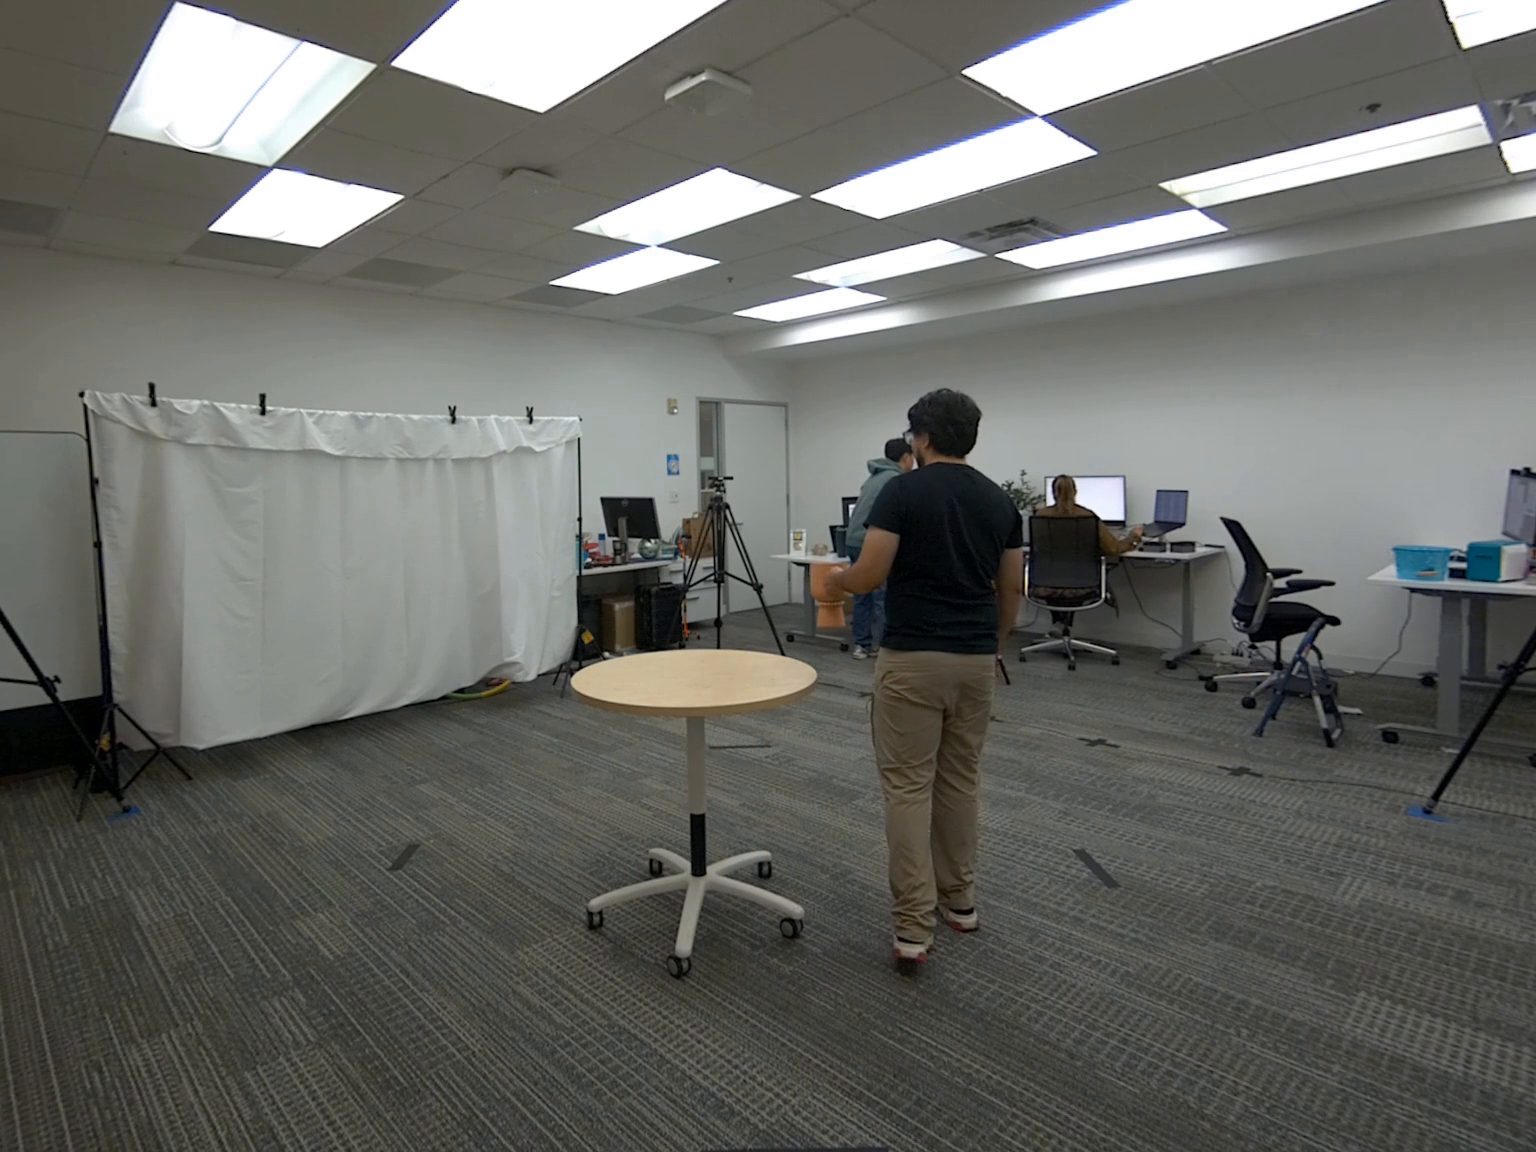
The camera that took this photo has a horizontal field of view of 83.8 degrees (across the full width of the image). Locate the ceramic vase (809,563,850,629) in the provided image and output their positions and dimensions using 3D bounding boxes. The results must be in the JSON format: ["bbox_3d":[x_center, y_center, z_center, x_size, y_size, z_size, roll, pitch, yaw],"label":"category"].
[{"bbox_3d":[0.217,0.065,2.965,0.138,0.220,0.154,-1,1,35],"label":"ceramic vase"}]
